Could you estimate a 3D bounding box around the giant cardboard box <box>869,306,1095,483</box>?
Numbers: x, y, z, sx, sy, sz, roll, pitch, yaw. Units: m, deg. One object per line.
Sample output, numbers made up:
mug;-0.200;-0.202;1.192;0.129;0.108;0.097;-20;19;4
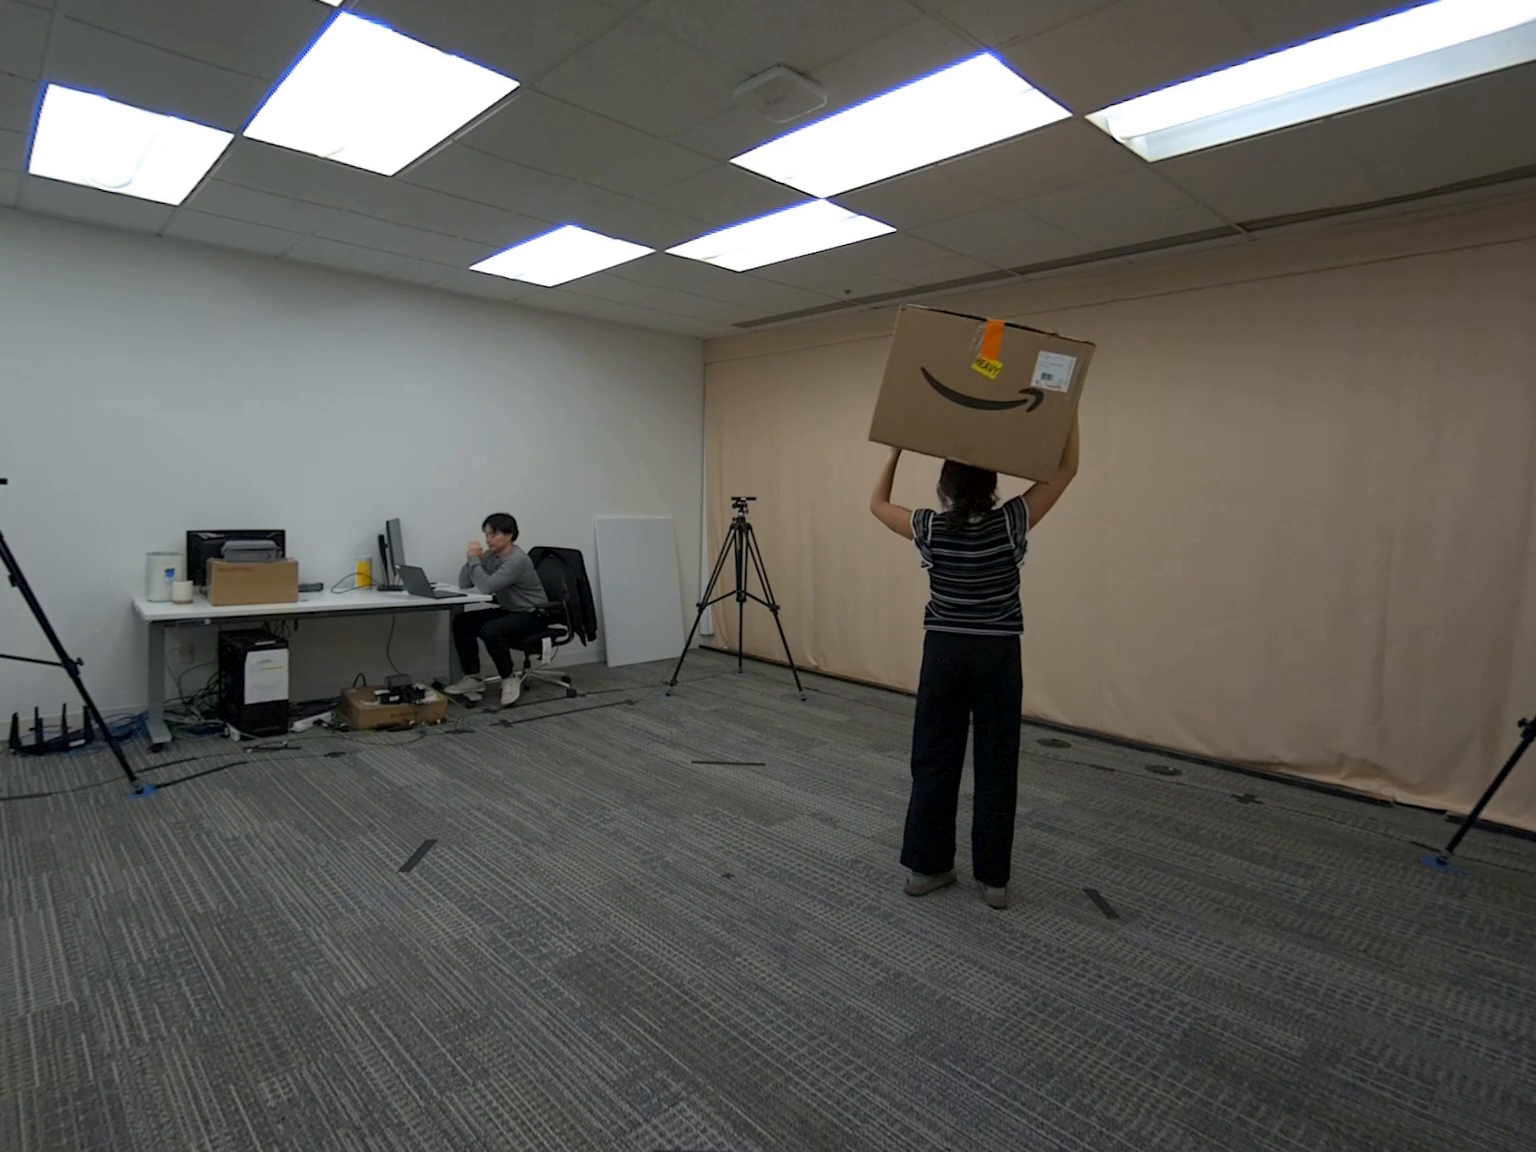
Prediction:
giant cardboard box;0.753;-0.671;2.991;0.585;0.422;1.022;16;19;12
